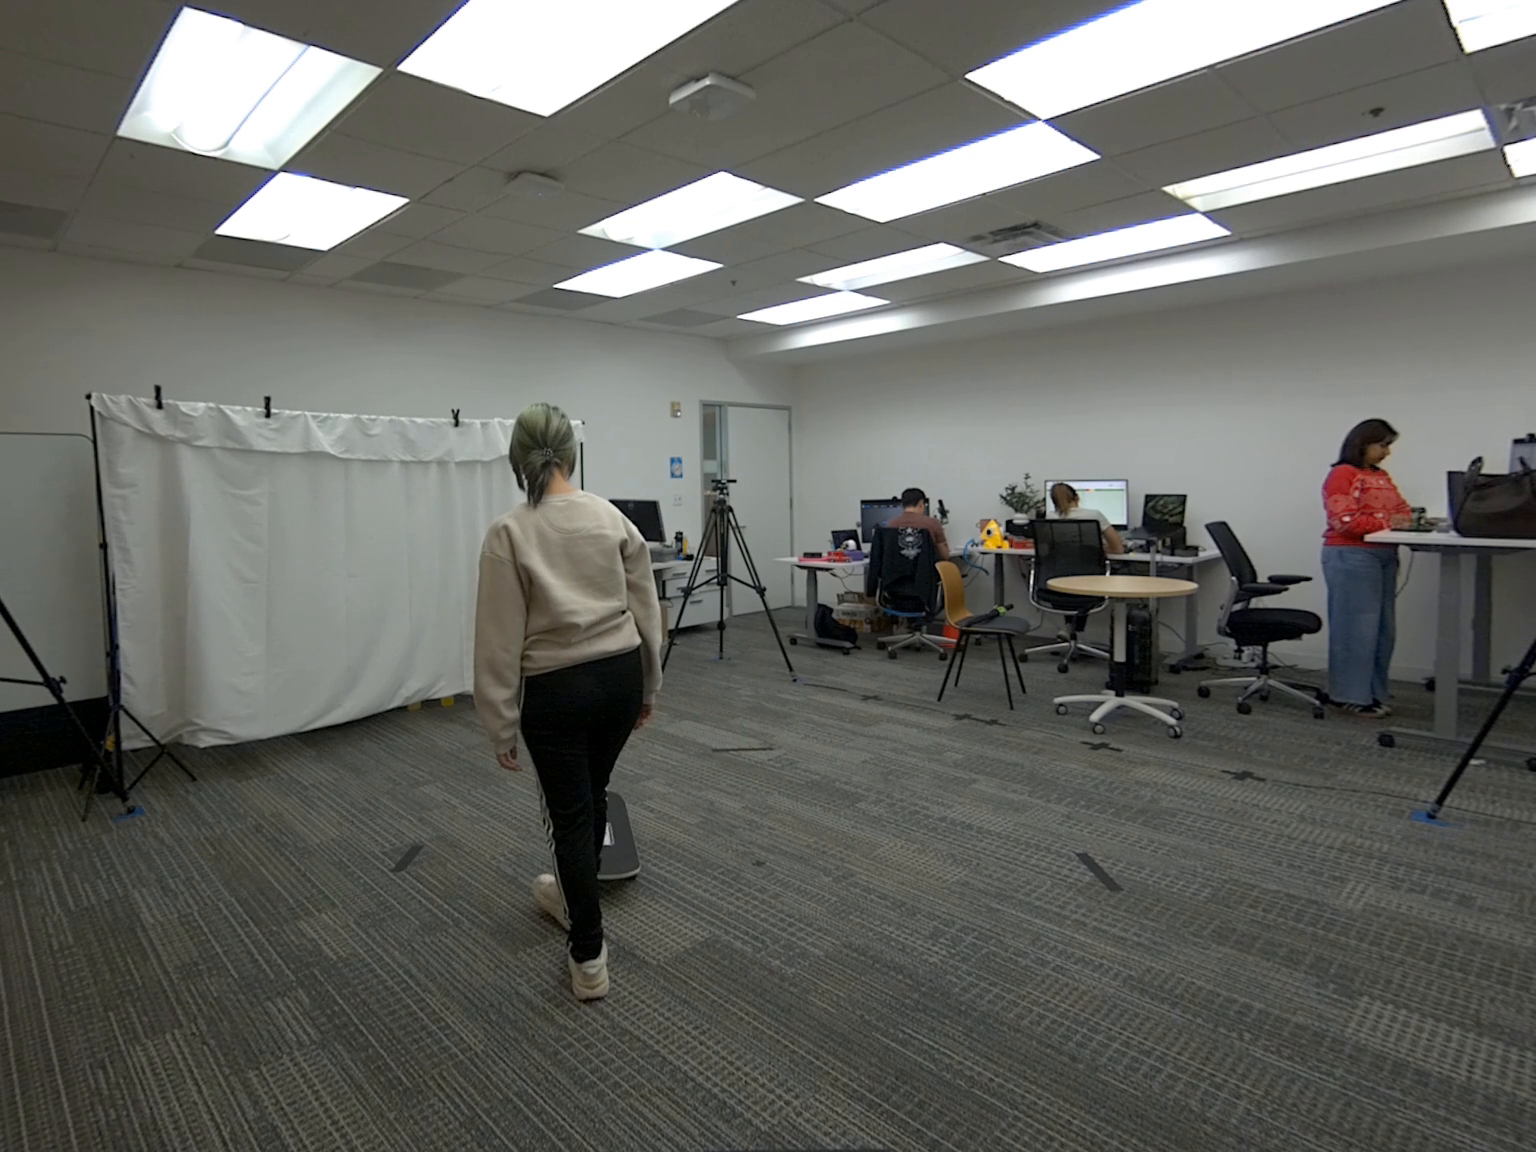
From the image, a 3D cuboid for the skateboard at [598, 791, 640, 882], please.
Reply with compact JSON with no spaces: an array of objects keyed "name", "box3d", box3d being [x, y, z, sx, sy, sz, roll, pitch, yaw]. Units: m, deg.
[{"name":"skateboard","box3d":[-0.603,0.993,3.184,0.191,0.110,0.798,-1,6,-13]}]
